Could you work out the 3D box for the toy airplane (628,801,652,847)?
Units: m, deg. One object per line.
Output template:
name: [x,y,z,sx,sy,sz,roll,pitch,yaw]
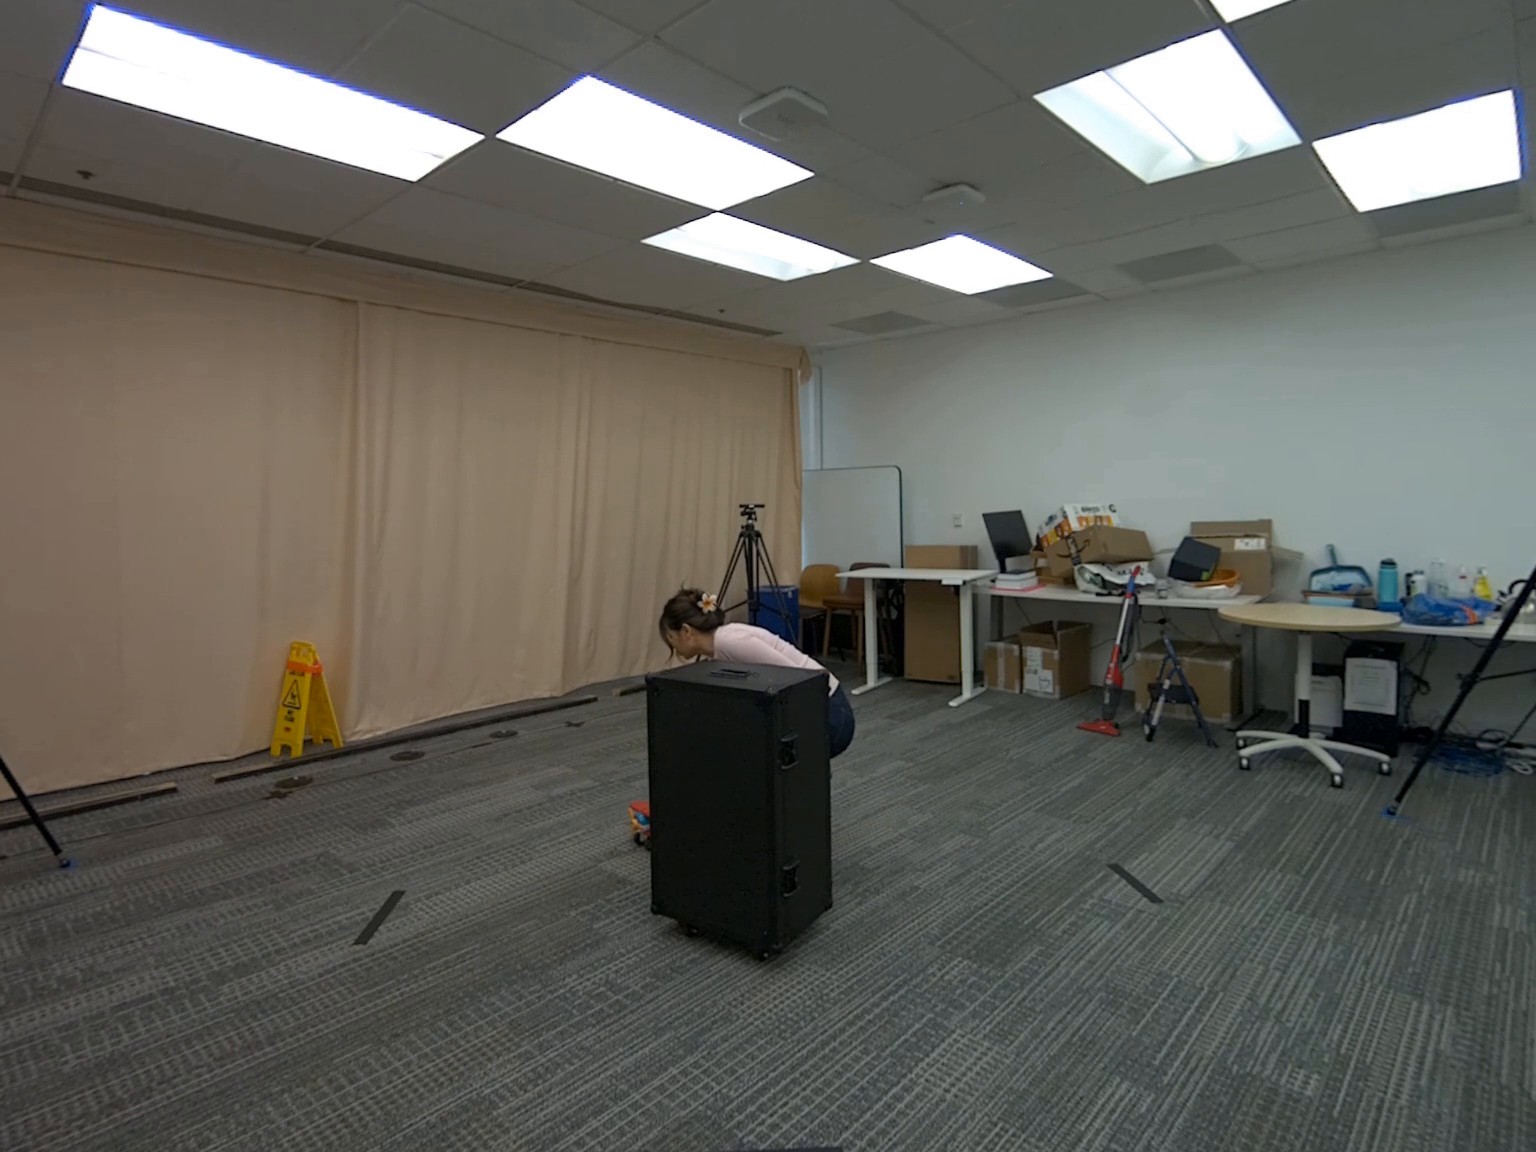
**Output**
toy airplane: [-0.460,1.015,3.509,0.257,0.155,0.256,-8,13,25]
